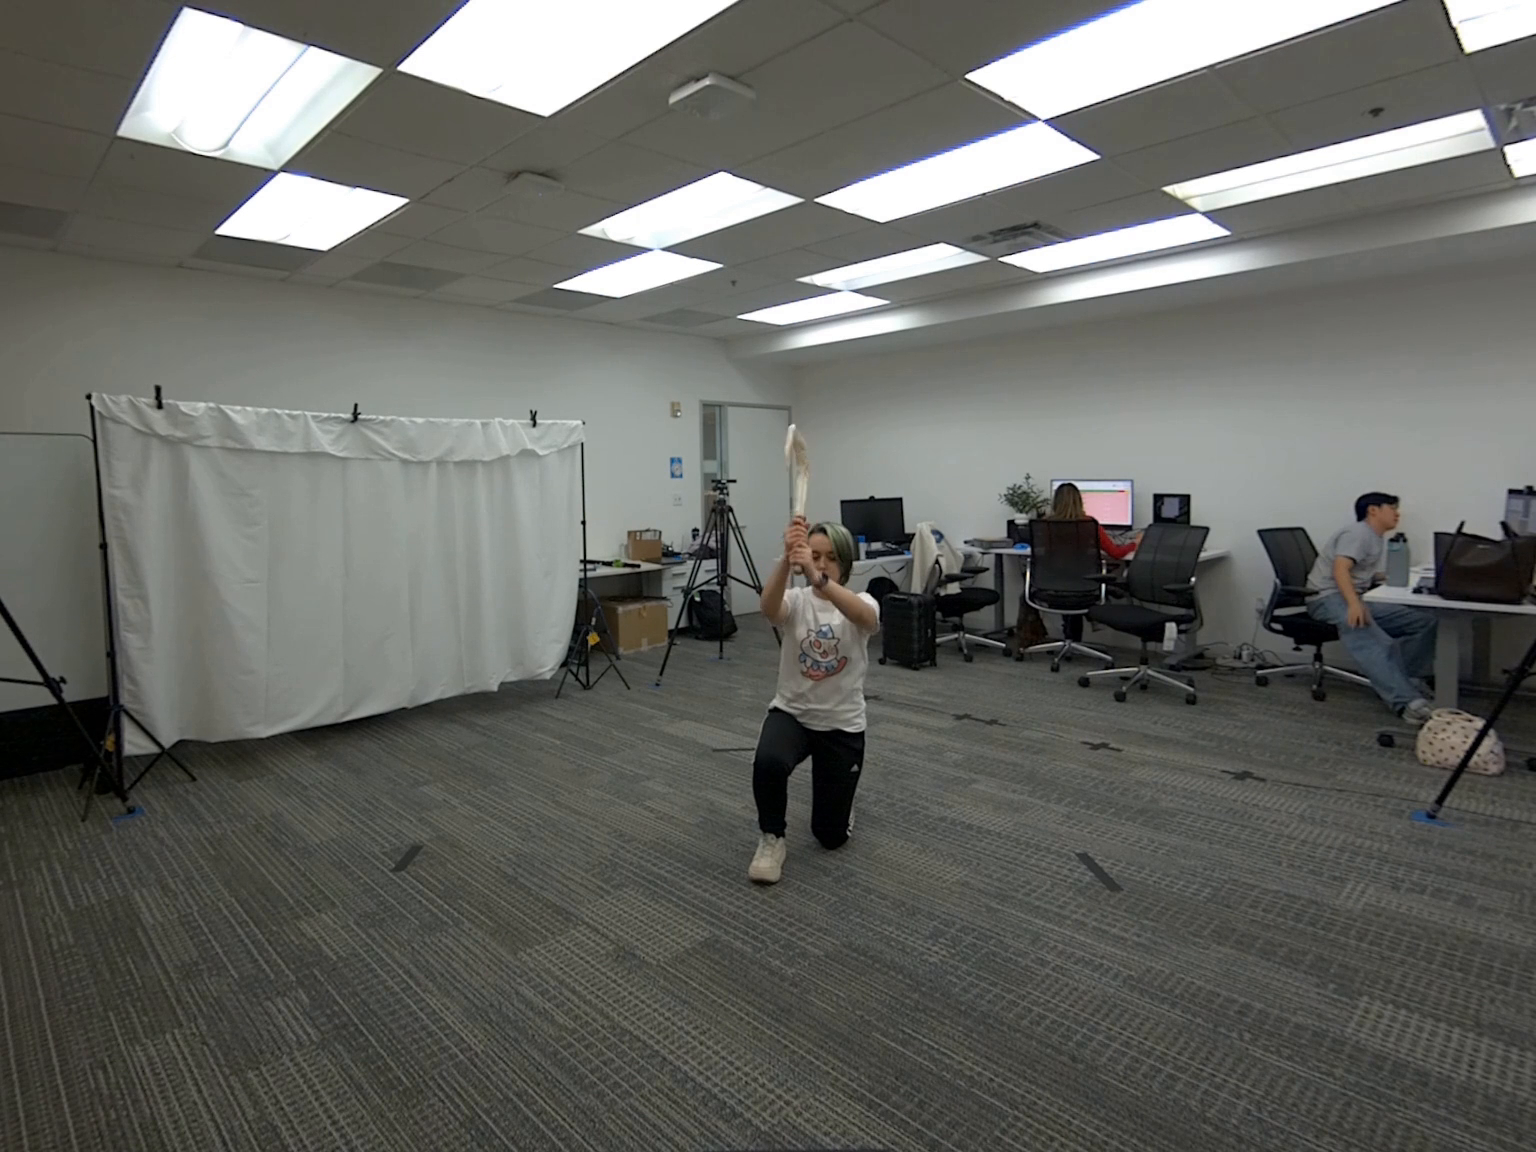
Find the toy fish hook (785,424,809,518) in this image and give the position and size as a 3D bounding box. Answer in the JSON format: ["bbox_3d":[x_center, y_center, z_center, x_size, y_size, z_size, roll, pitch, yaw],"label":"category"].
[{"bbox_3d":[0.101,-0.231,2.831,0.049,0.516,0.217,-8,-24,21],"label":"toy fish hook"}]
